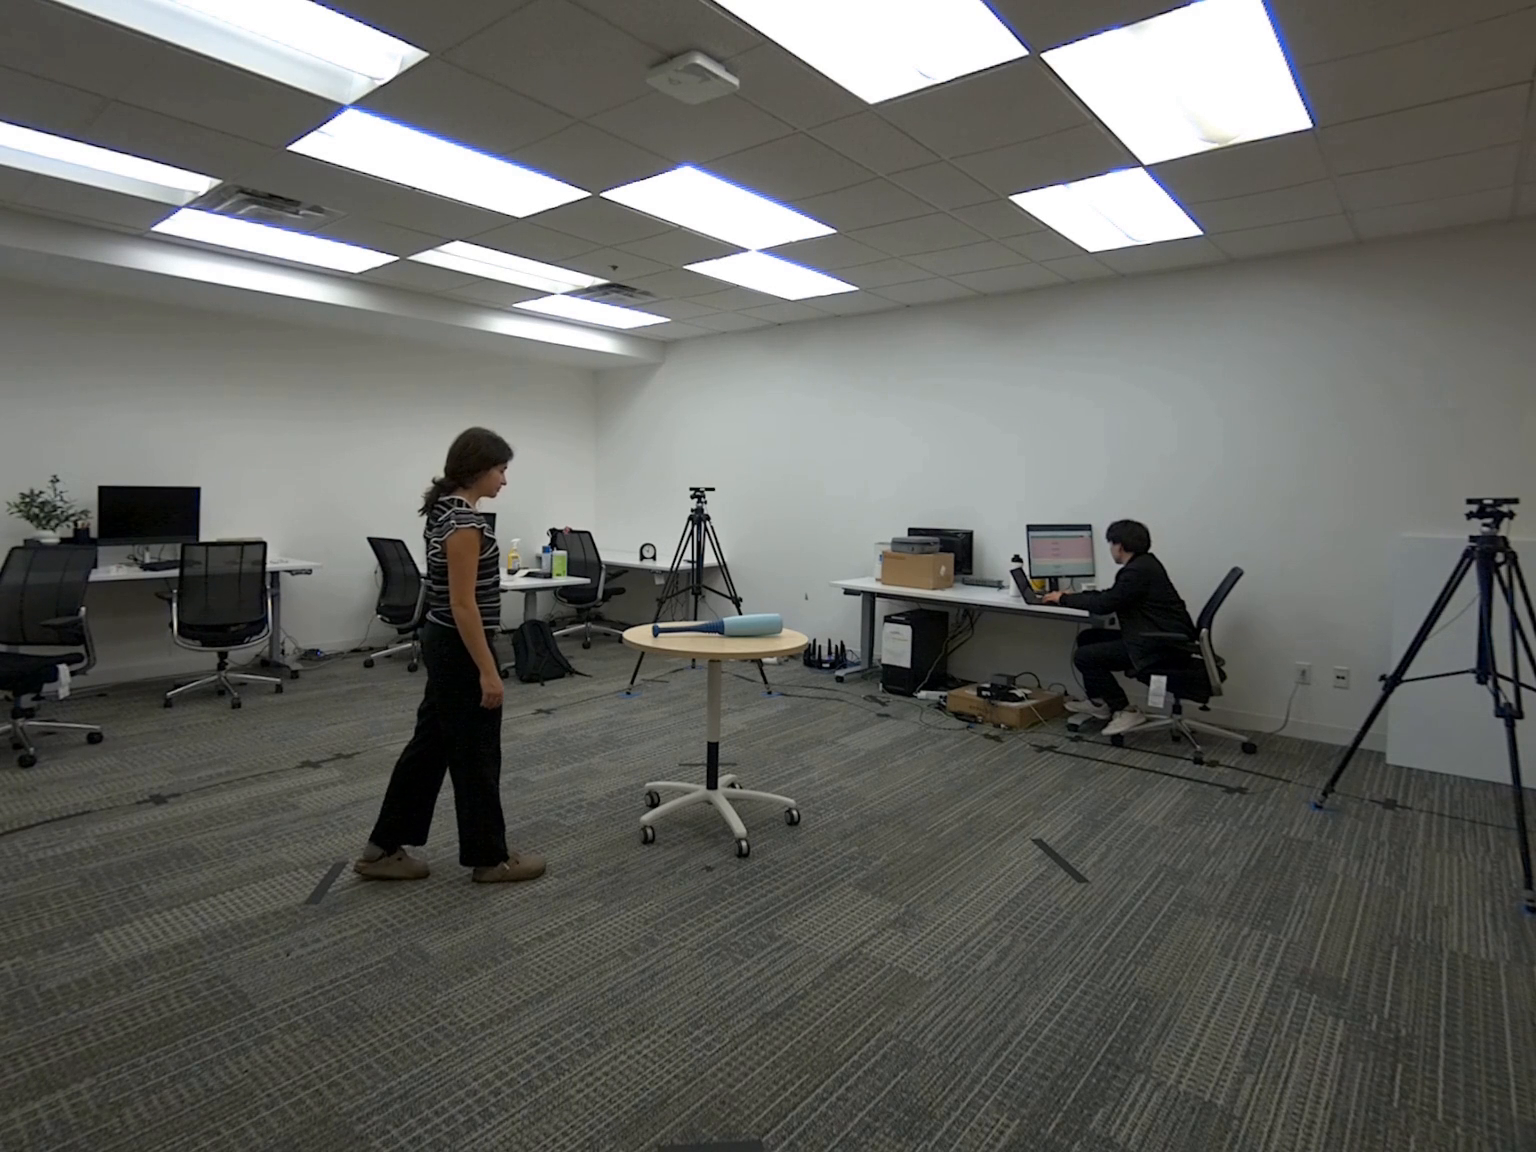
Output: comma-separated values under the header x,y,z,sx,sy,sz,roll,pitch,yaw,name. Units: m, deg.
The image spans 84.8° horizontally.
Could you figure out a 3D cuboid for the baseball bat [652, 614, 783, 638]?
x,y,z,sx,sy,sz,roll,pitch,yaw,name
-0.222,0.206,3.494,0.537,0.089,0.090,-2,5,-11,baseball bat
